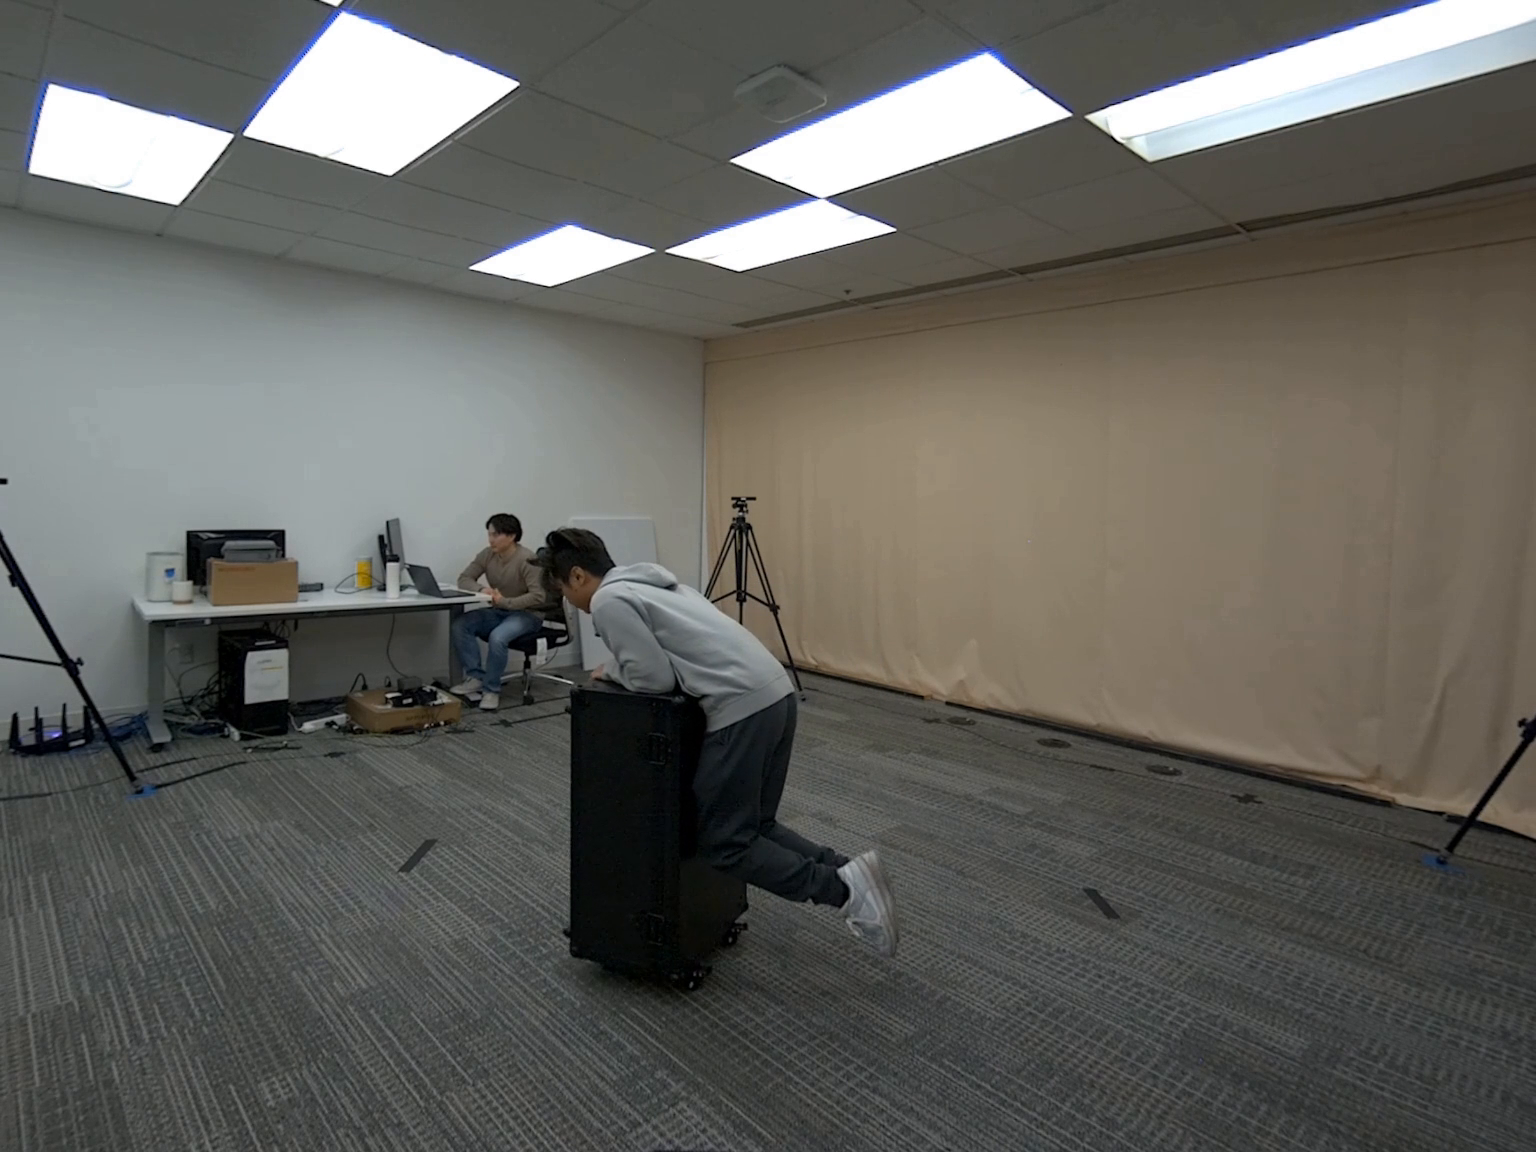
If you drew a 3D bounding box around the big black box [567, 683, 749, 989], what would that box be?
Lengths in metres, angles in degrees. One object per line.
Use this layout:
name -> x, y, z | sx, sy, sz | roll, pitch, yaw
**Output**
big black box -> -0.329, 0.741, 2.543 | 0.403, 0.860, 0.513 | 2, 3, 24
